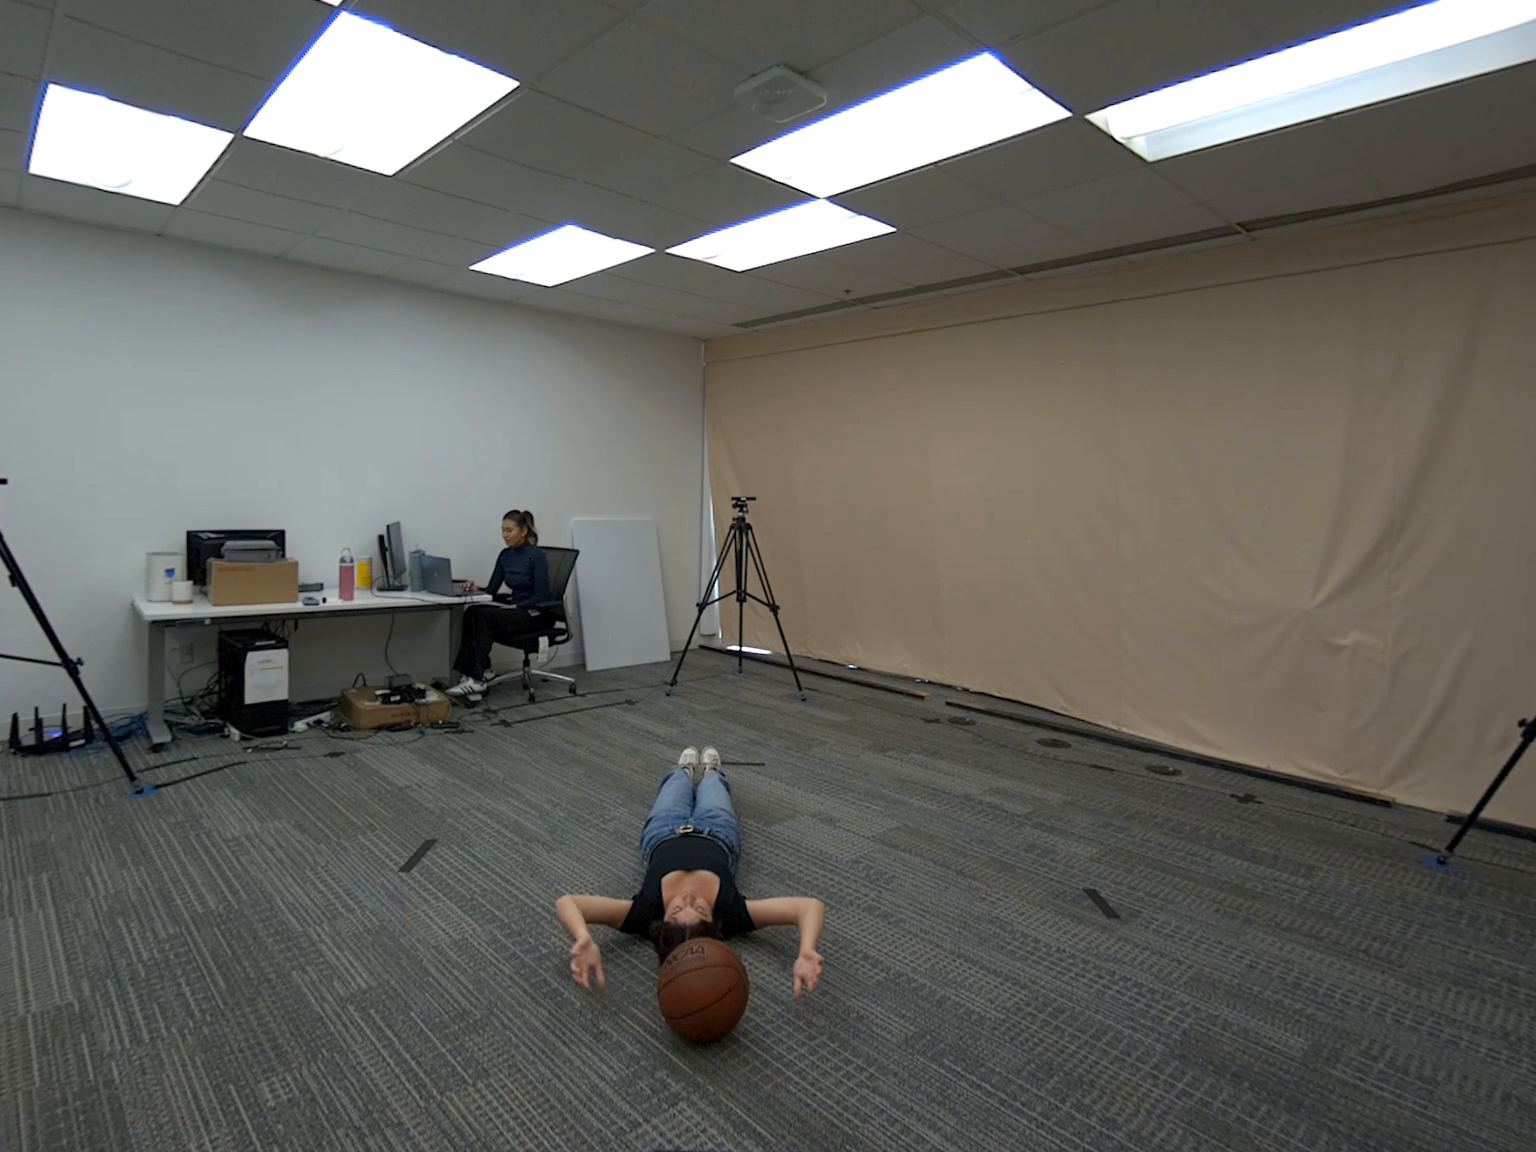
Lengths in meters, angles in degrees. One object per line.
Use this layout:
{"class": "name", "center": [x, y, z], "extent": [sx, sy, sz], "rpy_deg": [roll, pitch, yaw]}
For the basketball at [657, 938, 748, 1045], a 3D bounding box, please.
{"class": "basketball", "center": [-0.170, 1.069, 2.177], "extent": [0.236, 0.235, 0.237], "rpy_deg": [1, 4, -1]}
